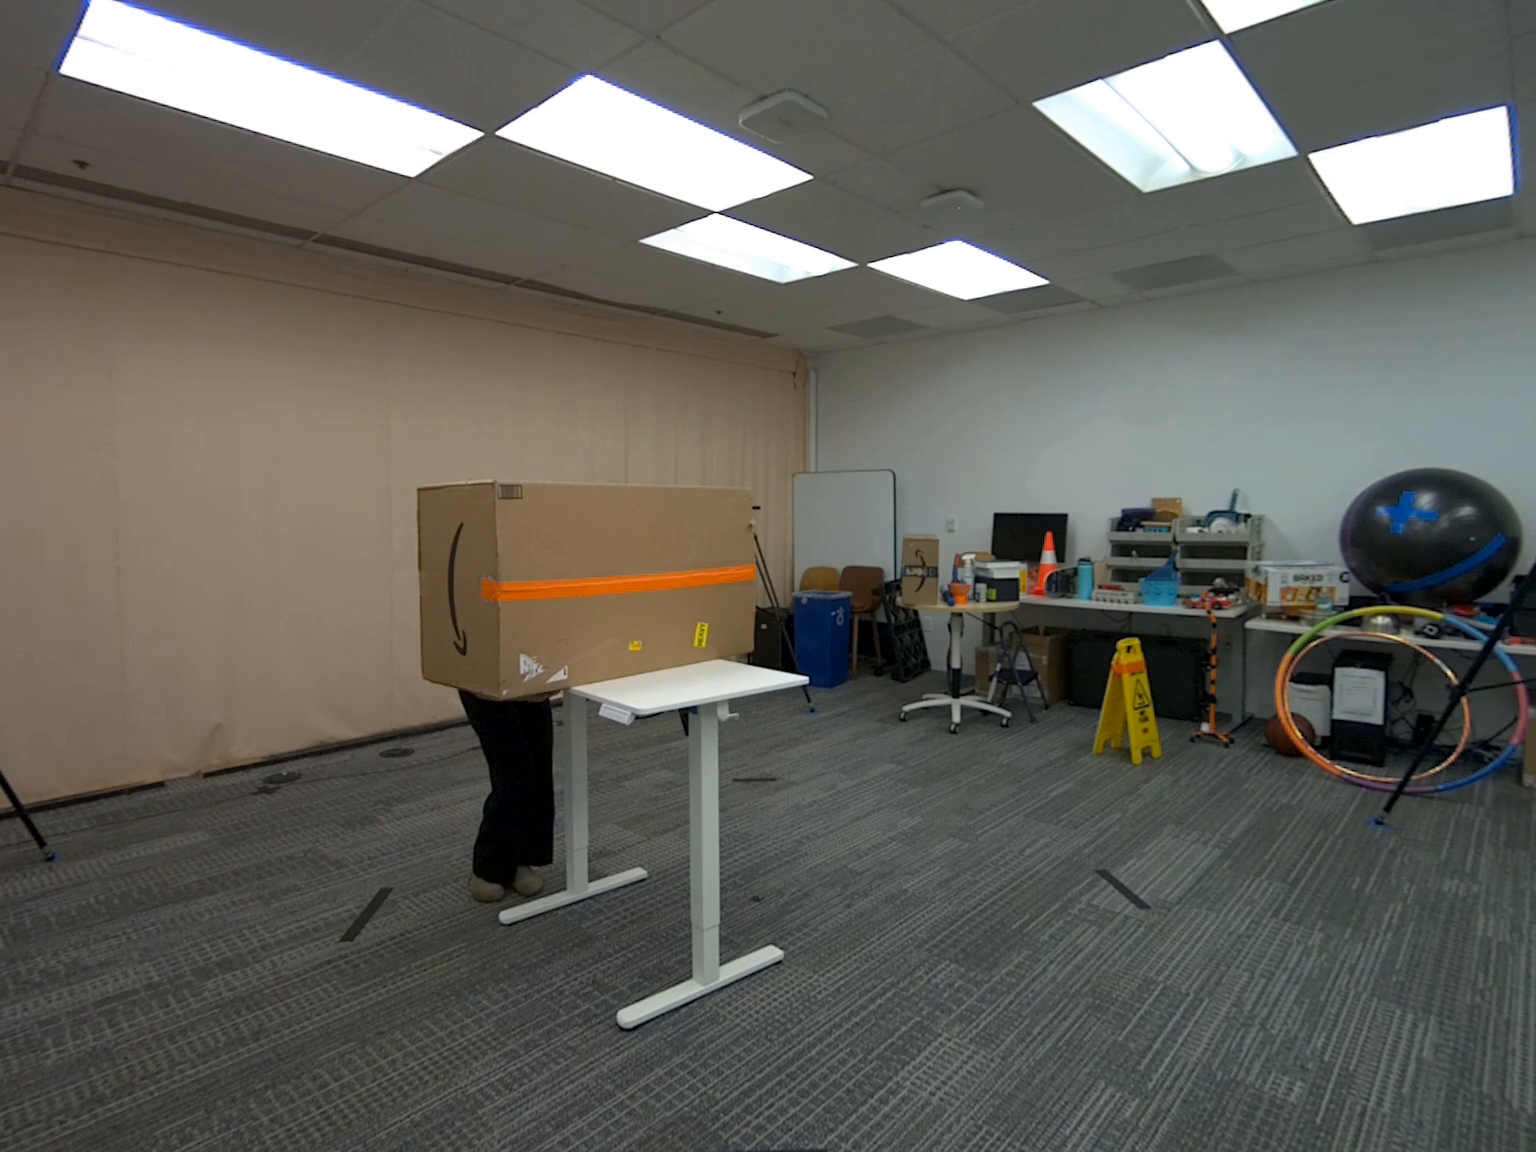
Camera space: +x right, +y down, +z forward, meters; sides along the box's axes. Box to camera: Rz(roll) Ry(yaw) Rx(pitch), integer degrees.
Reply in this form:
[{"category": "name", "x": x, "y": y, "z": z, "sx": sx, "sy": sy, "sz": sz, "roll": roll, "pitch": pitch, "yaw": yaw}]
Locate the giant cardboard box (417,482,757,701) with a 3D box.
[{"category": "giant cardboard box", "x": -0.532, "y": 0.001, "z": 2.703, "sx": 0.440, "sy": 0.576, "sz": 0.994, "roll": 3, "pitch": 5, "yaw": 41}]
